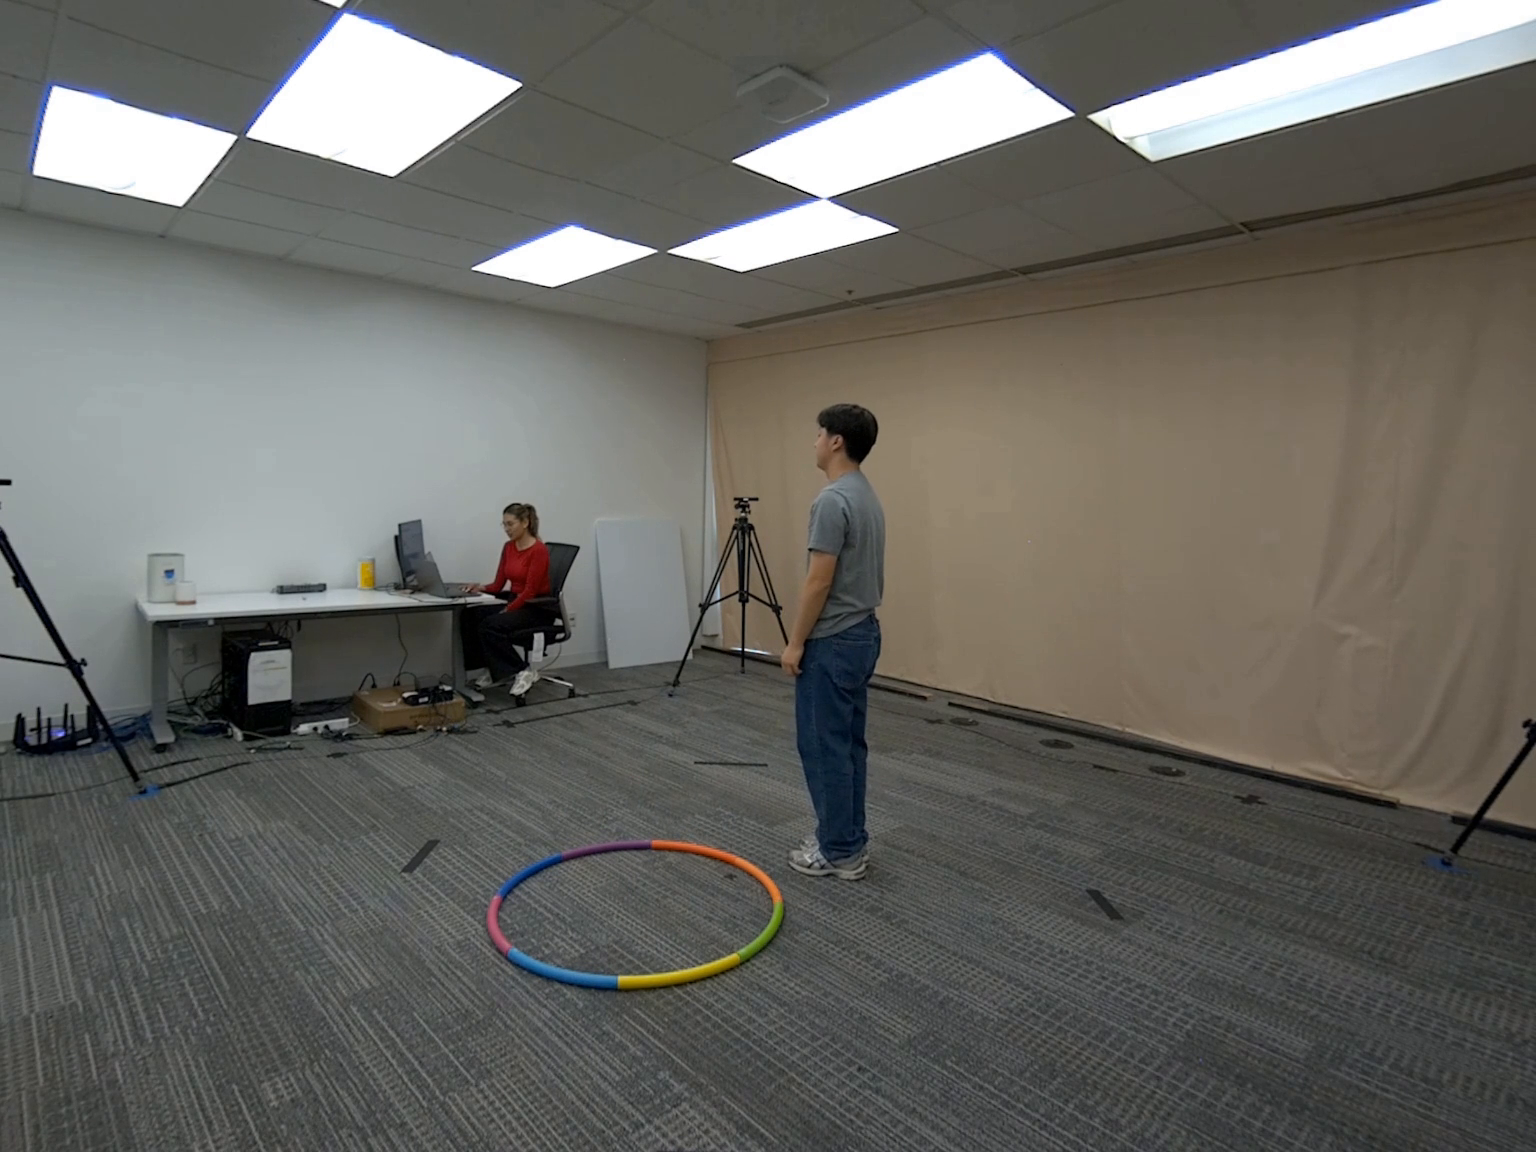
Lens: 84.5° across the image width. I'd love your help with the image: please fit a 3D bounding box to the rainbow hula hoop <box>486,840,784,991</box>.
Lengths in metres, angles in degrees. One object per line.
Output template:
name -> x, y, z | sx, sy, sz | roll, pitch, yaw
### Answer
rainbow hula hoop -> -0.452, 1.093, 2.853 | 0.978, 0.035, 0.982 | 1, 5, -1
